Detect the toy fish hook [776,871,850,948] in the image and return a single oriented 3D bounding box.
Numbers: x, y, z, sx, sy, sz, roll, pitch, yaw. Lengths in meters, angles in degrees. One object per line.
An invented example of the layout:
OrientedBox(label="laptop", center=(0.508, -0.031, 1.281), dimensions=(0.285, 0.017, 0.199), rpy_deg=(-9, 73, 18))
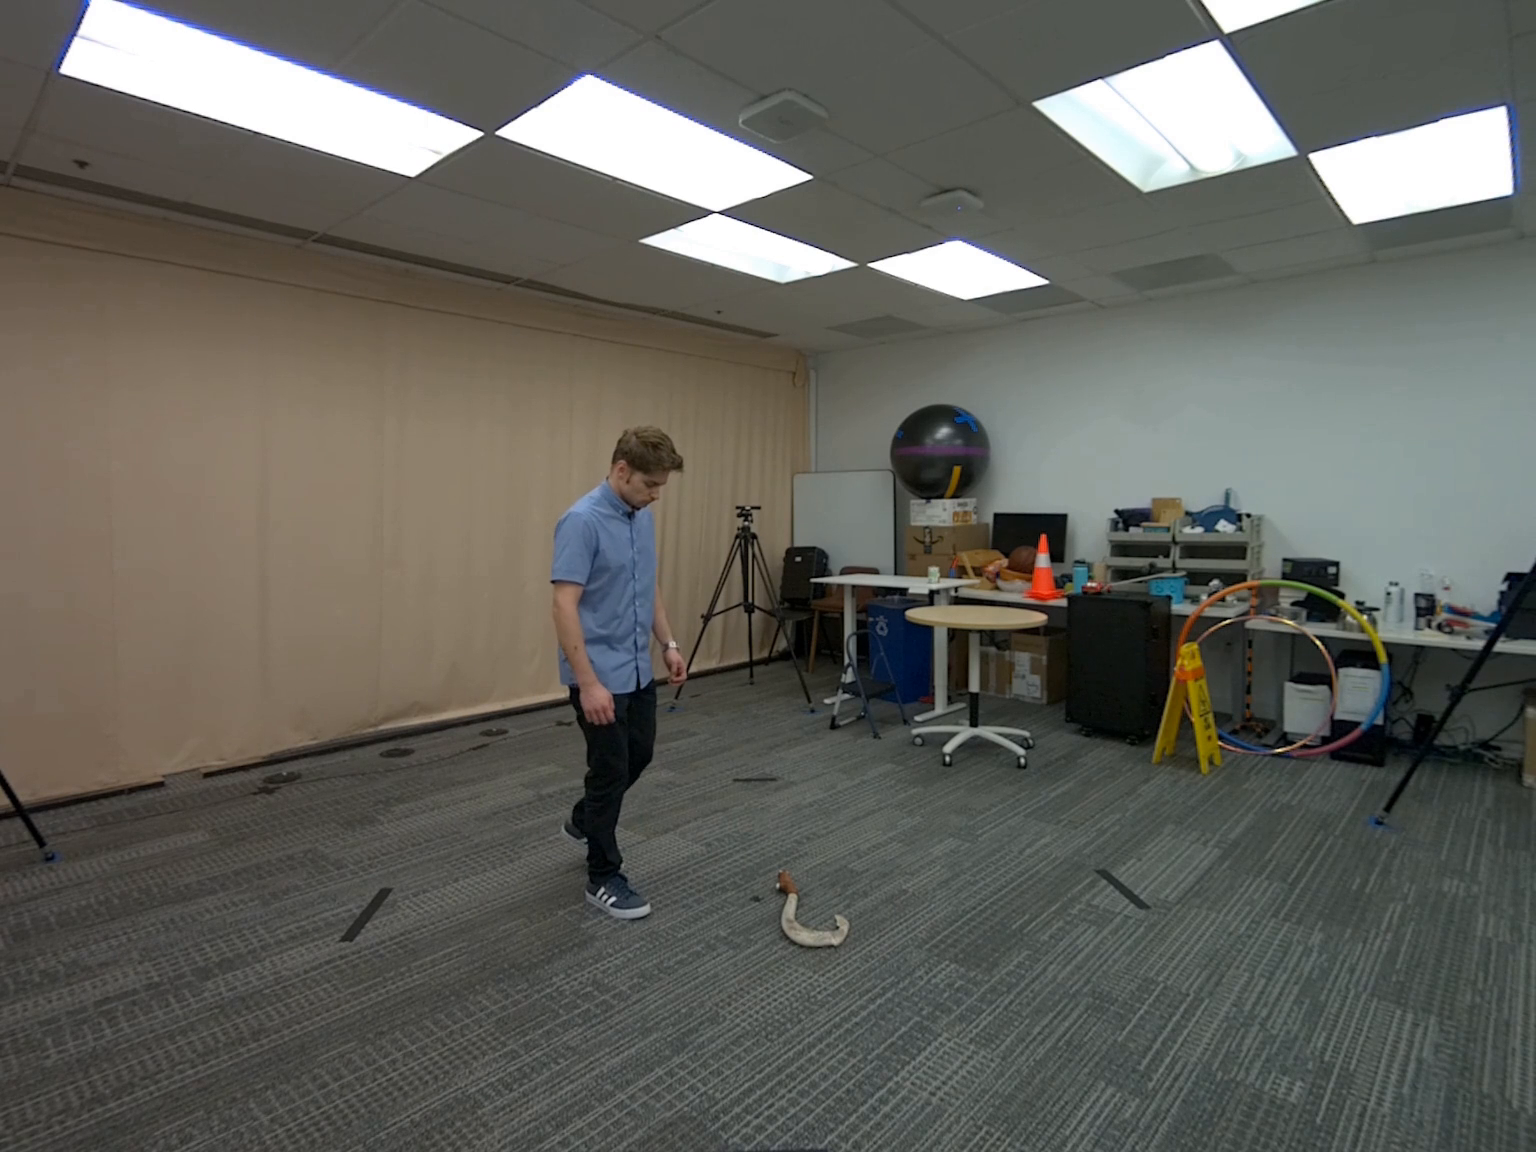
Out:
OrientedBox(label="toy fish hook", center=(0.141, 1.136, 2.892), dimensions=(0.223, 0.048, 0.511), rpy_deg=(7, 4, -7))
